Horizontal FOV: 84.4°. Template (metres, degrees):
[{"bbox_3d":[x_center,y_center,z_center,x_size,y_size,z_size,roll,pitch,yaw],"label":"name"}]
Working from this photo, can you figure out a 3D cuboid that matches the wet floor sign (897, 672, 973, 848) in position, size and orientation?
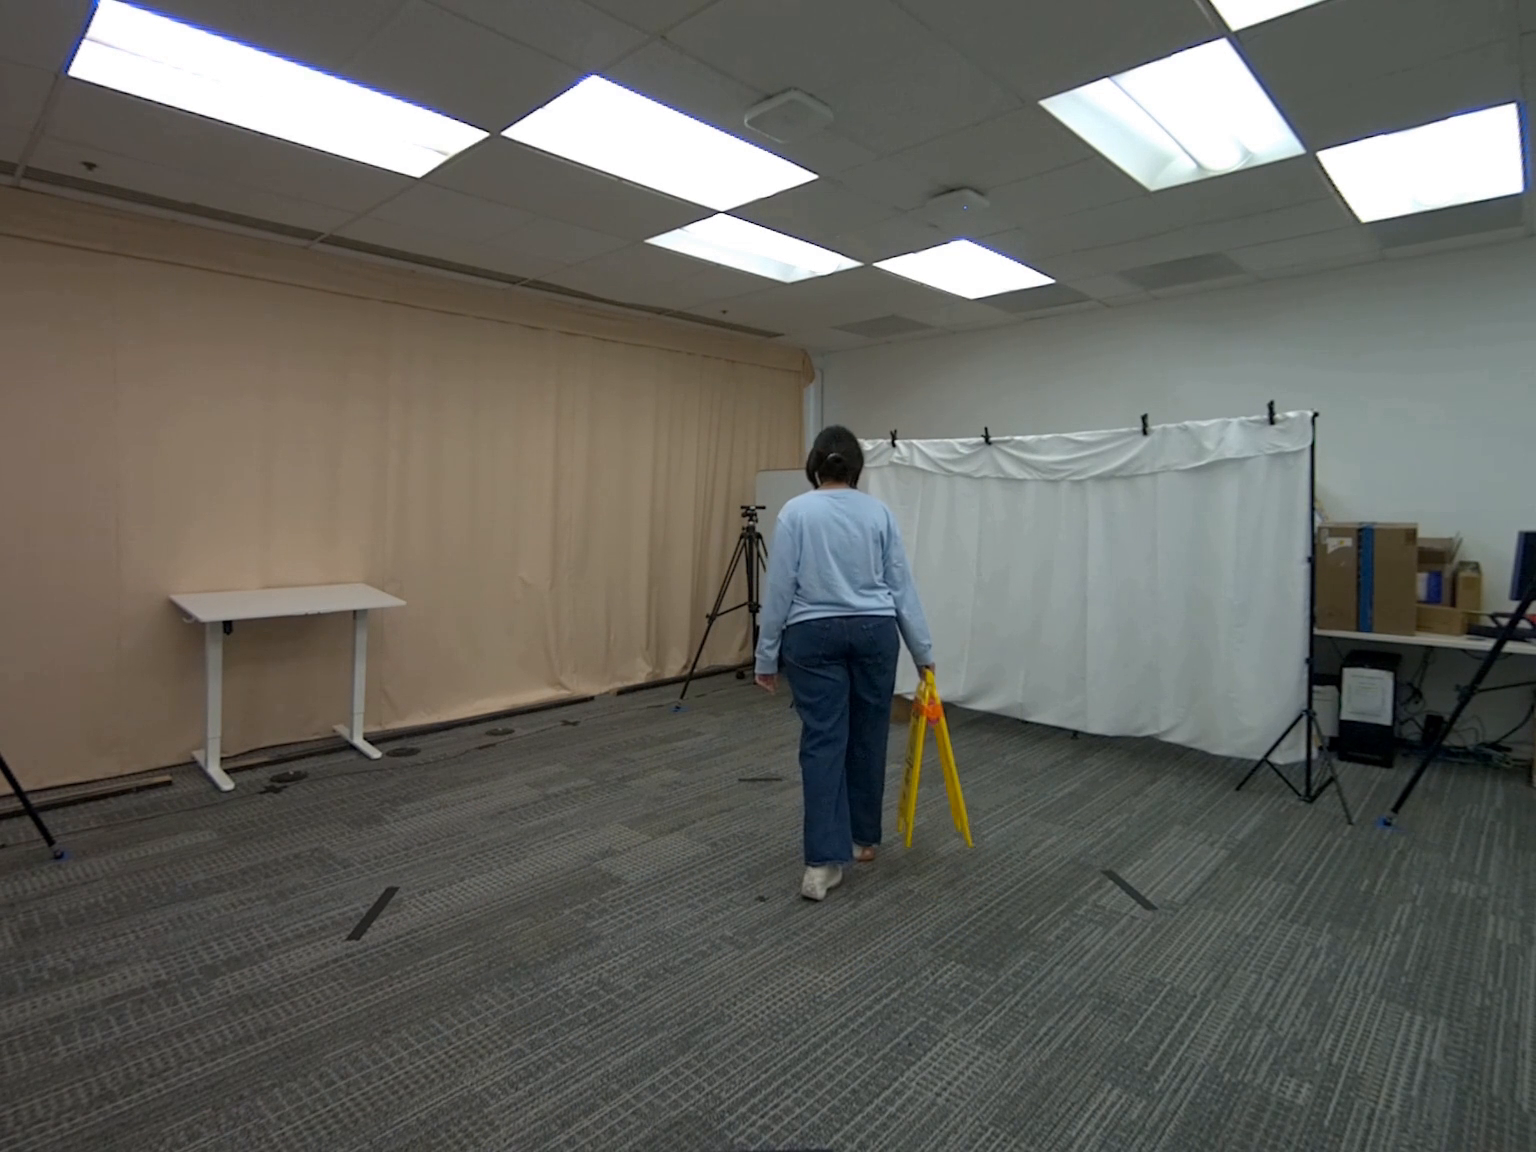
[{"bbox_3d":[0.629,0.693,3.273,0.291,0.648,0.280,-2,-4,4],"label":"wet floor sign"}]
